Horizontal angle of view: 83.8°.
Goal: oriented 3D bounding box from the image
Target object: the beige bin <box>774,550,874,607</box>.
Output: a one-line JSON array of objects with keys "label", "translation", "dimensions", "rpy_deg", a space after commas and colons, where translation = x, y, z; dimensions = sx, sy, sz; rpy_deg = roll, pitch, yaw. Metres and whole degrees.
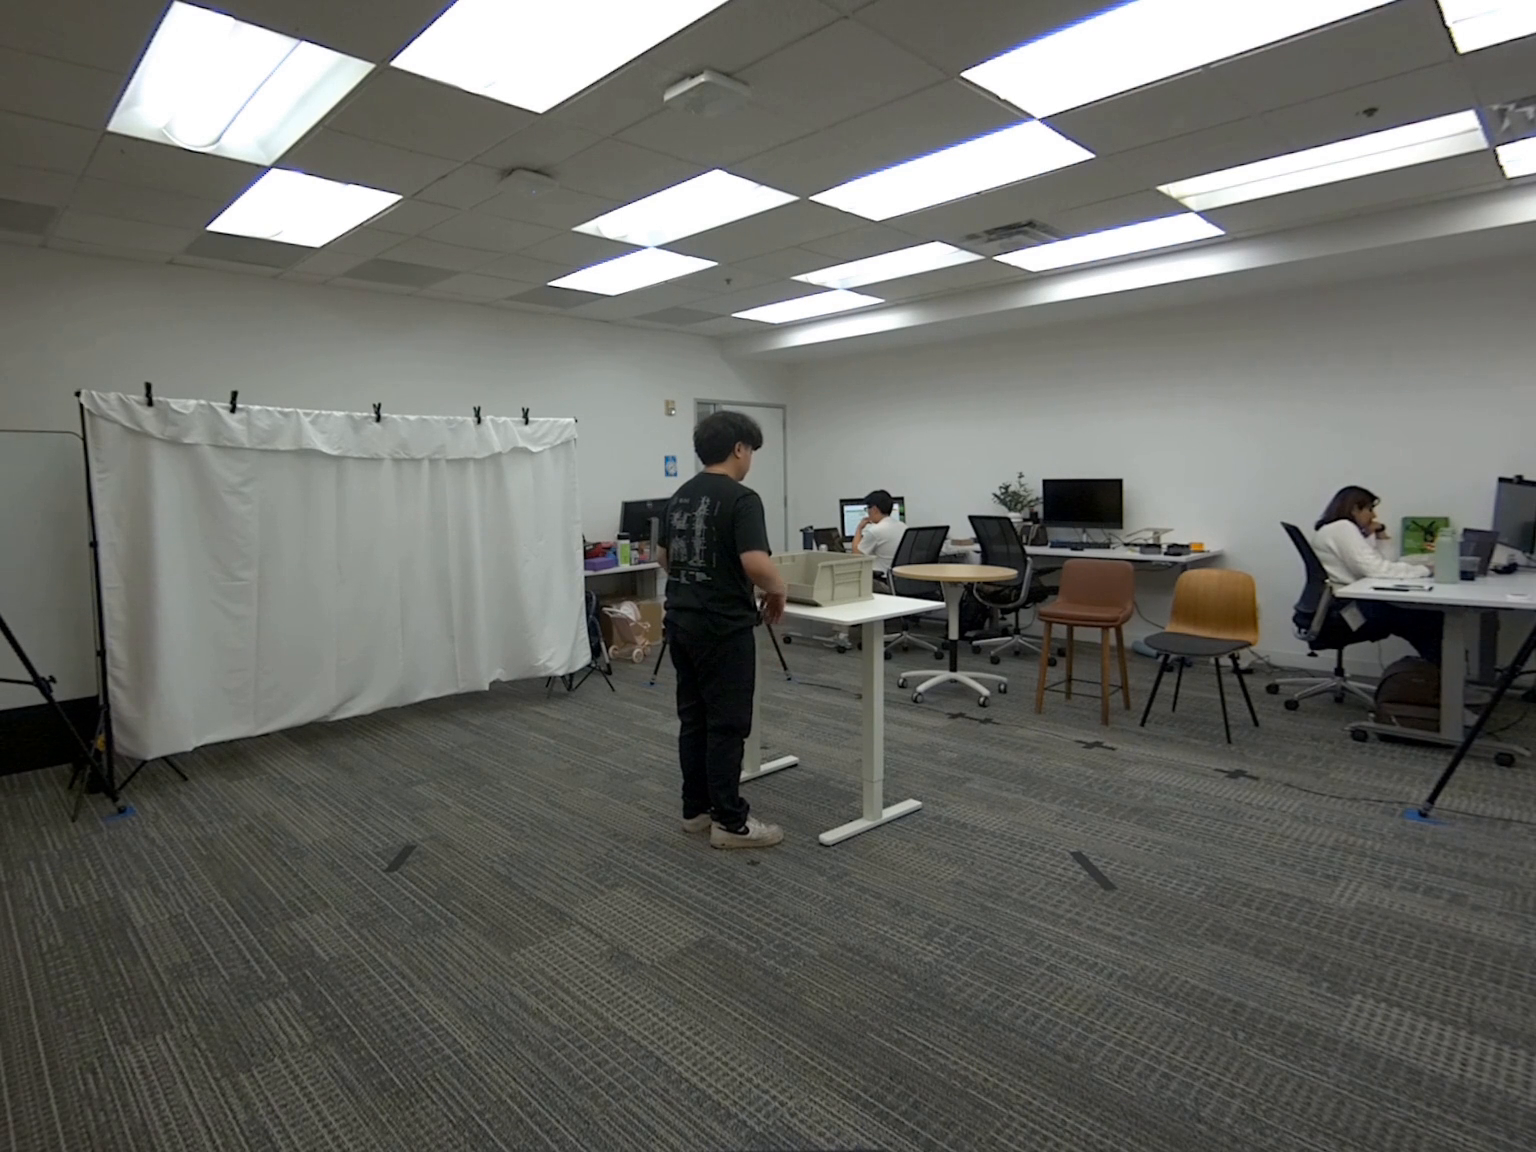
[{"label": "beige bin", "translation": [0.178, 0.006, 3.623], "dimensions": [0.367, 0.188, 0.435], "rpy_deg": [-5, 7, -39]}]
